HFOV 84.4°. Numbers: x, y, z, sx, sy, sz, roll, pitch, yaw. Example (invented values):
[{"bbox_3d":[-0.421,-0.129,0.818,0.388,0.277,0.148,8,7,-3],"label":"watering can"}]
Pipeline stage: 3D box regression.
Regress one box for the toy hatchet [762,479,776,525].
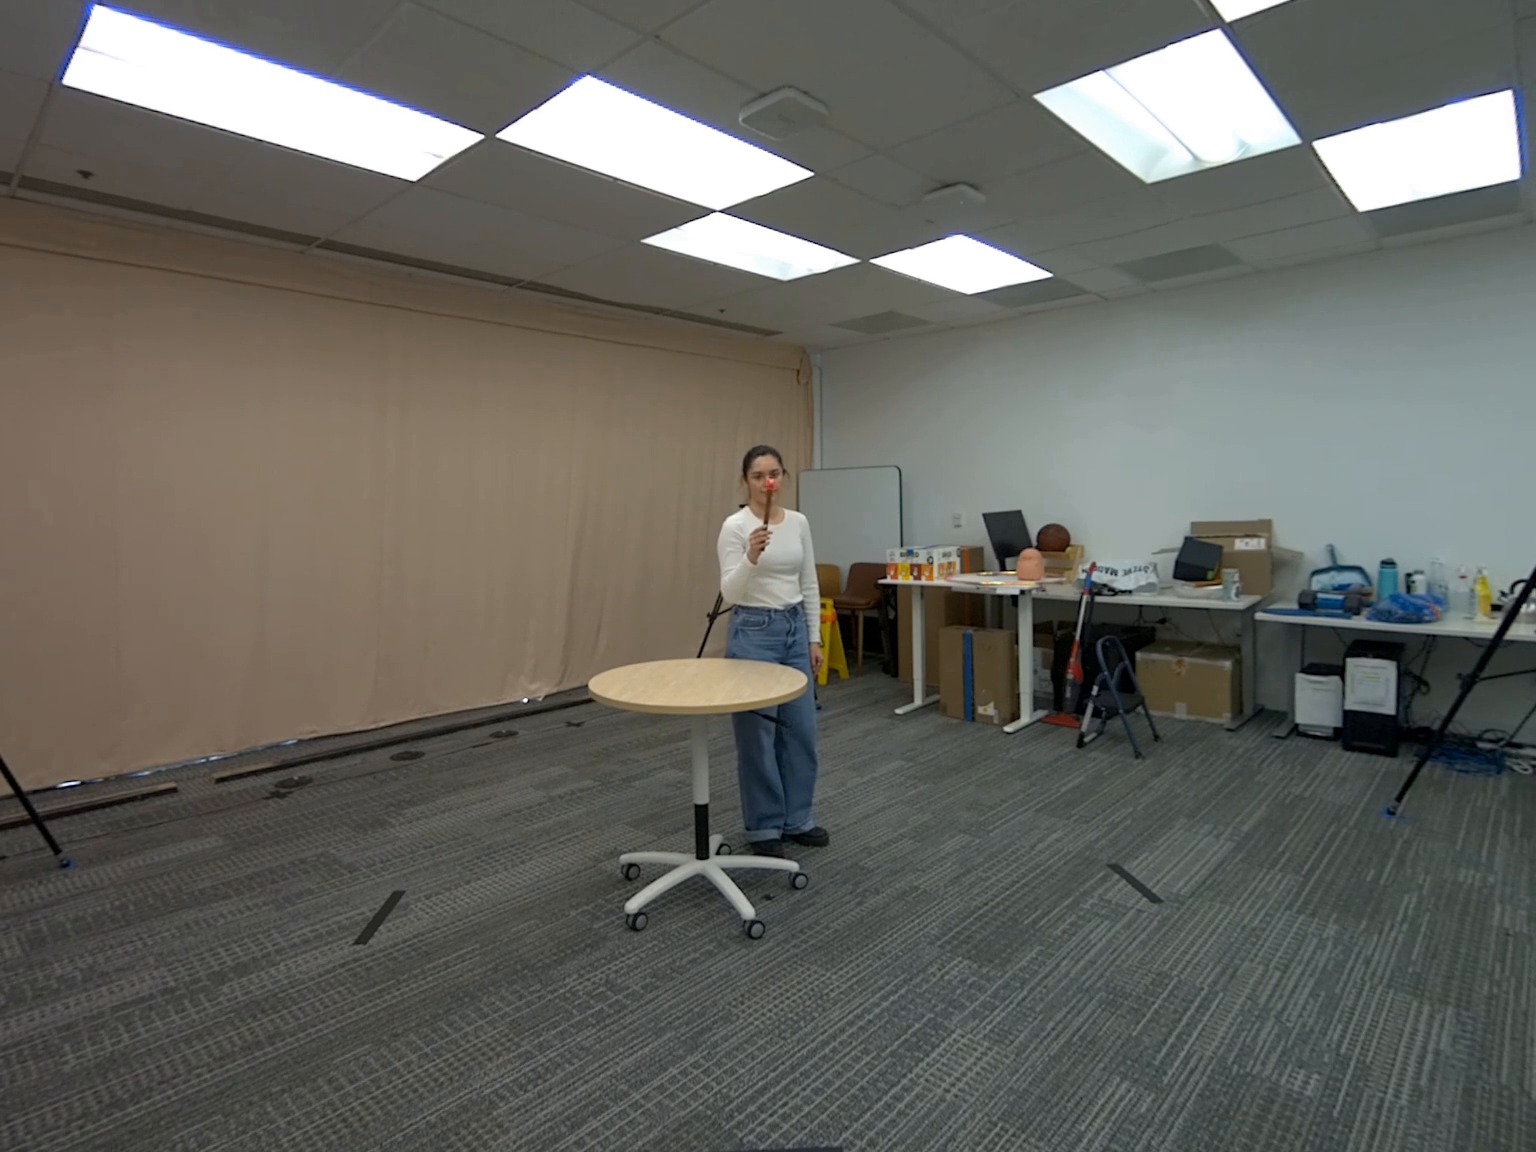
[{"bbox_3d":[-0.006,-0.236,3.087,0.029,0.267,0.132,5,18,-3],"label":"toy hatchet"}]
